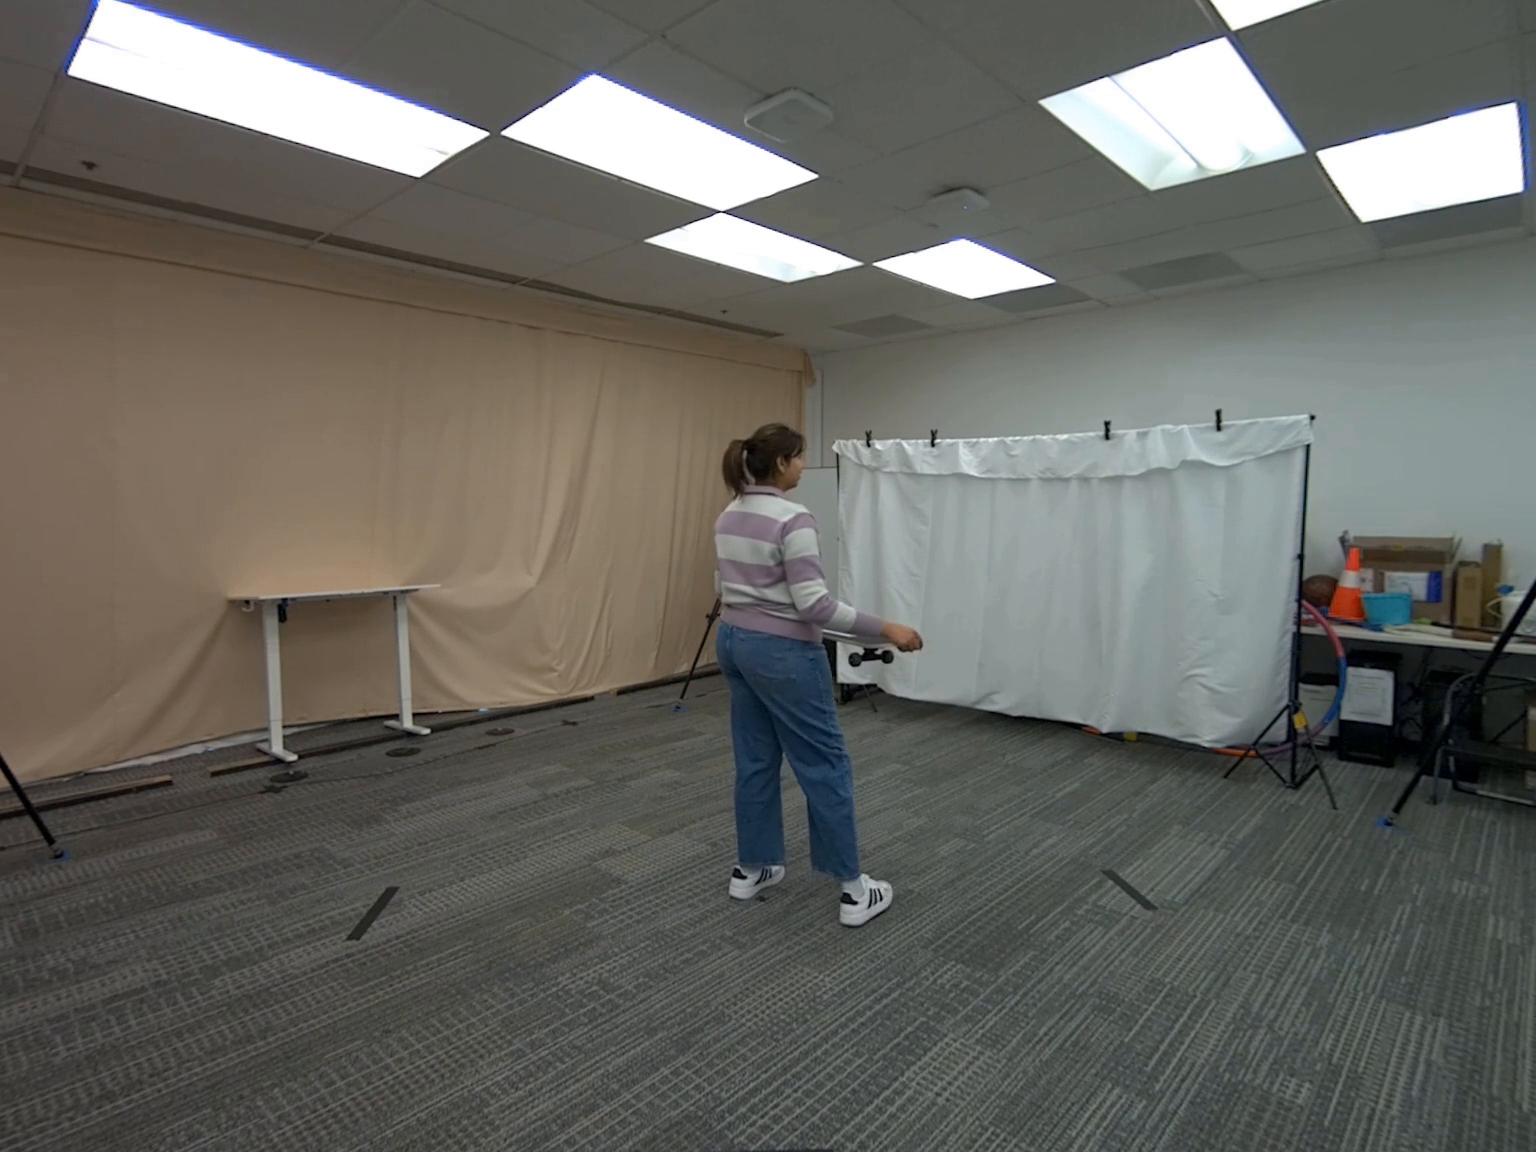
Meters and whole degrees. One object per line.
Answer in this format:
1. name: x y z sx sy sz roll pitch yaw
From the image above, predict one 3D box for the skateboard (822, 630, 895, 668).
1. skateboard: 0.263 0.242 3.129 0.188 0.110 0.811 -3 8 -35
